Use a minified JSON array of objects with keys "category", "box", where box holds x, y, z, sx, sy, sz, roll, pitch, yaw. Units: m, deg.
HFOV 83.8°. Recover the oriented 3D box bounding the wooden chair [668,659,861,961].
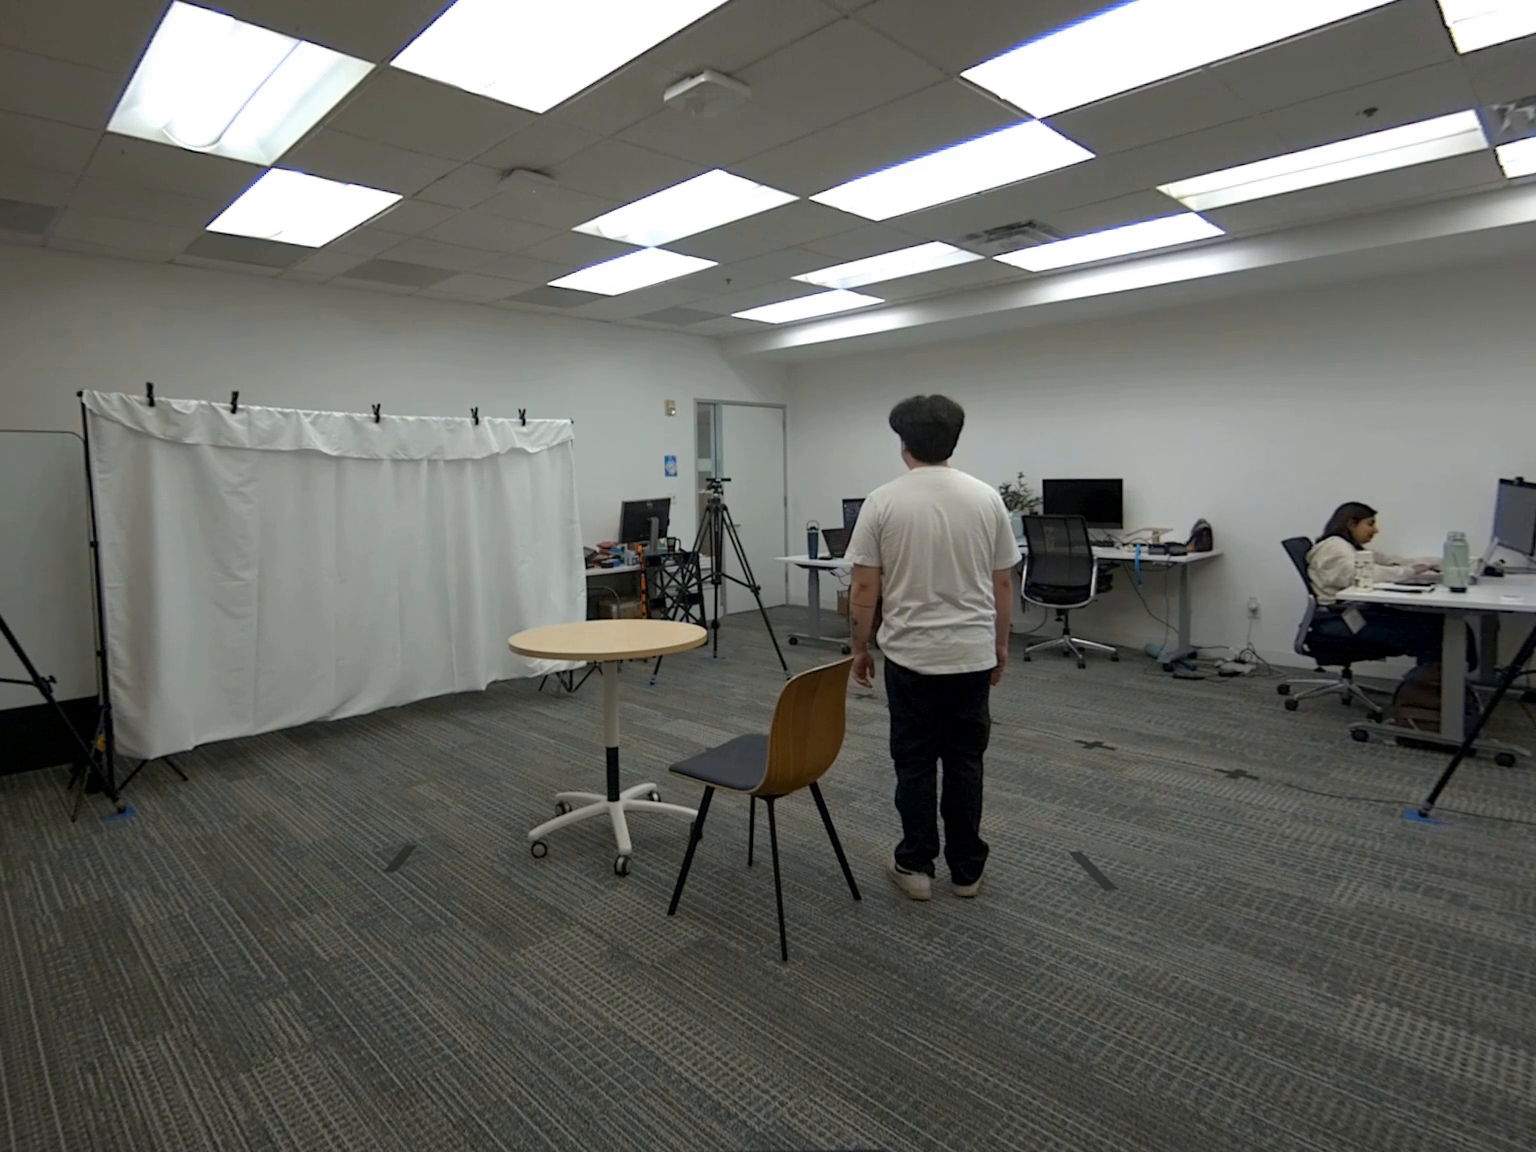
[{"category":"wooden chair","box":[-0.014,0.655,2.748,0.540,0.872,0.466,8,9,37]}]
